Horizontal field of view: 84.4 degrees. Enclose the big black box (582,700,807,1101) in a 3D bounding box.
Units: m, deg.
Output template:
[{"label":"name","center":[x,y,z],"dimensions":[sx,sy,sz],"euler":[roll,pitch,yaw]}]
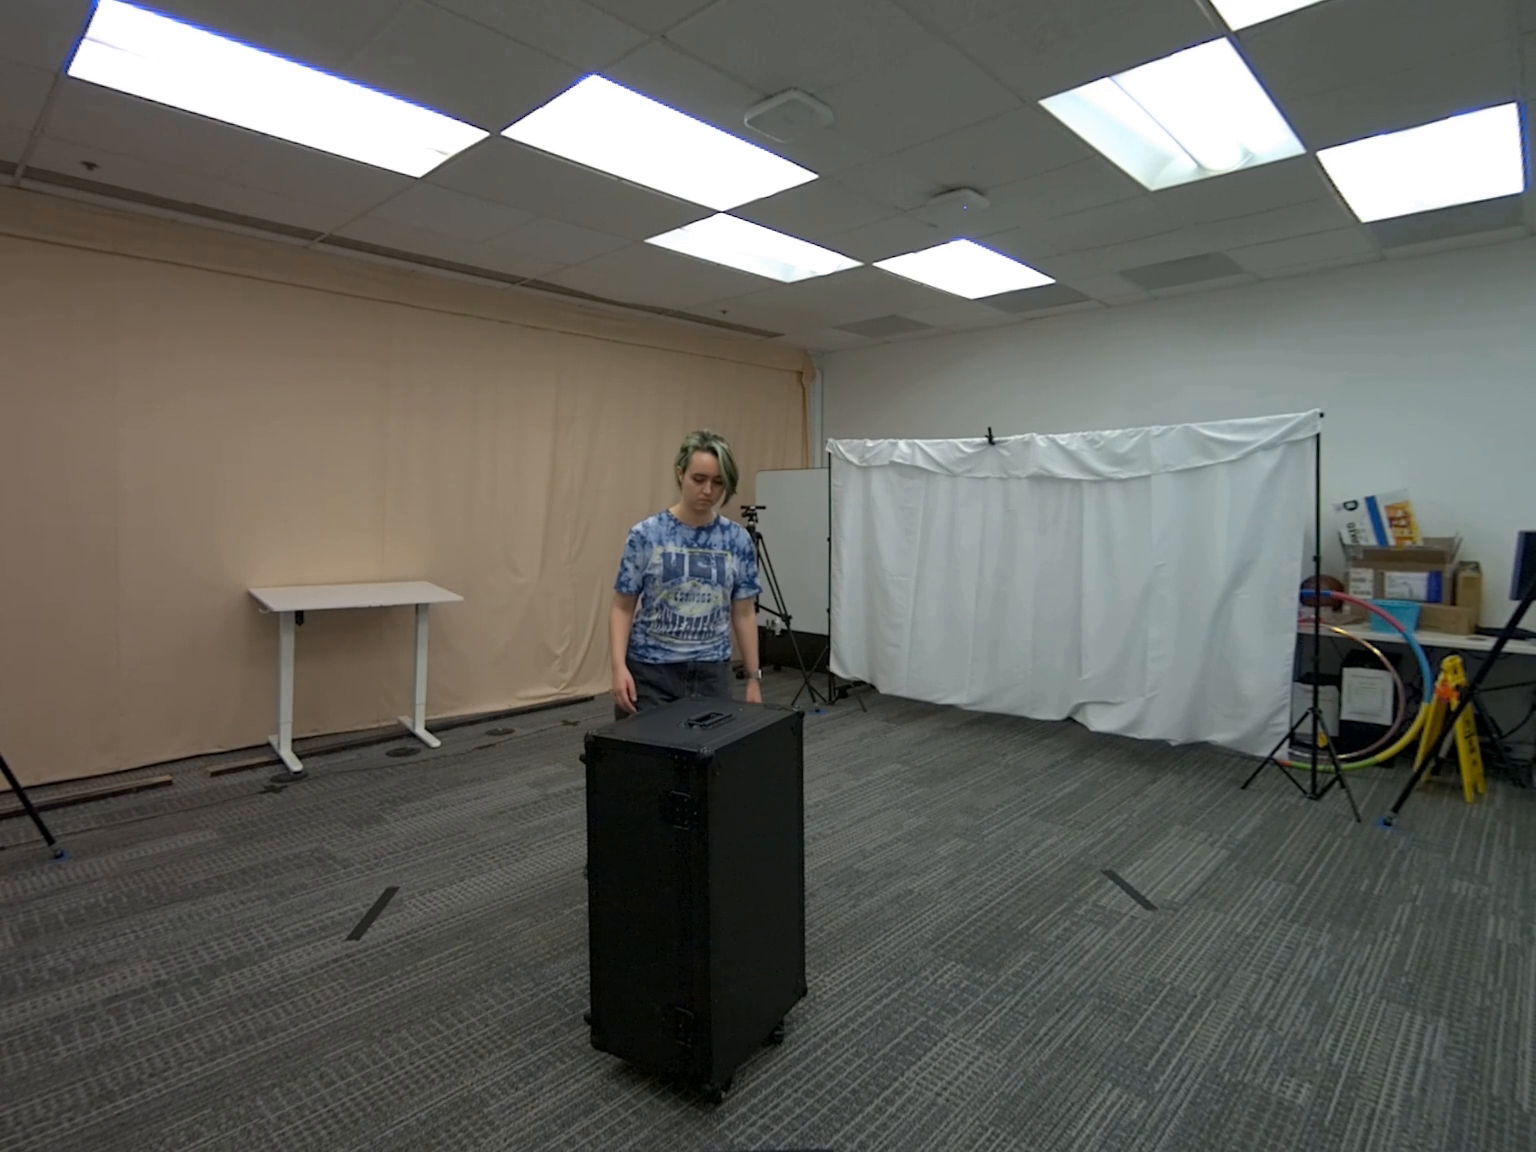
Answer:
[{"label":"big black box","center":[-0.170,0.789,2.149],"dimensions":[0.407,0.860,0.507],"euler":[0,3,30]}]
